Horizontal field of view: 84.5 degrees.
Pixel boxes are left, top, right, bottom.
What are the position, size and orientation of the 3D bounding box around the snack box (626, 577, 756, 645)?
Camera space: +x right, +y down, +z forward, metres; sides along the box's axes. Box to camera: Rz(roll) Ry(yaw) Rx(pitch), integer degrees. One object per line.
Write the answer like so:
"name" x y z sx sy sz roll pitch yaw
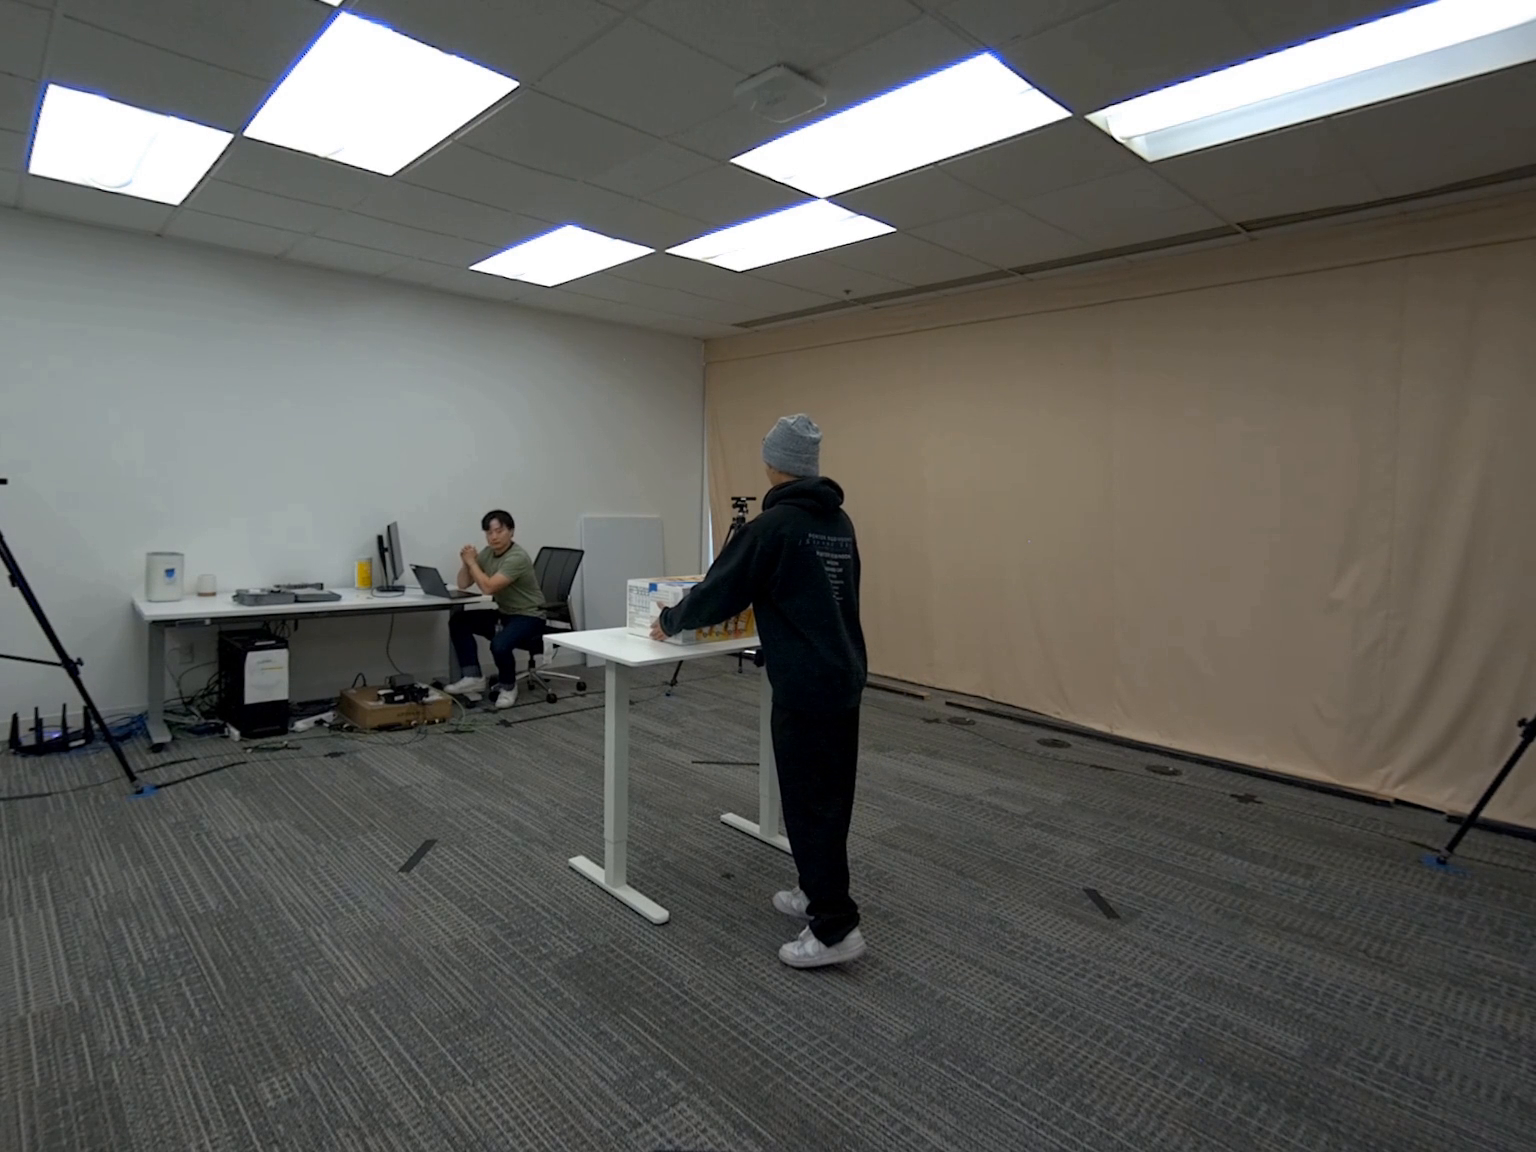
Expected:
"snack box" -0.269 0.117 3.143 0.396 0.205 0.349 -4 6 -43
